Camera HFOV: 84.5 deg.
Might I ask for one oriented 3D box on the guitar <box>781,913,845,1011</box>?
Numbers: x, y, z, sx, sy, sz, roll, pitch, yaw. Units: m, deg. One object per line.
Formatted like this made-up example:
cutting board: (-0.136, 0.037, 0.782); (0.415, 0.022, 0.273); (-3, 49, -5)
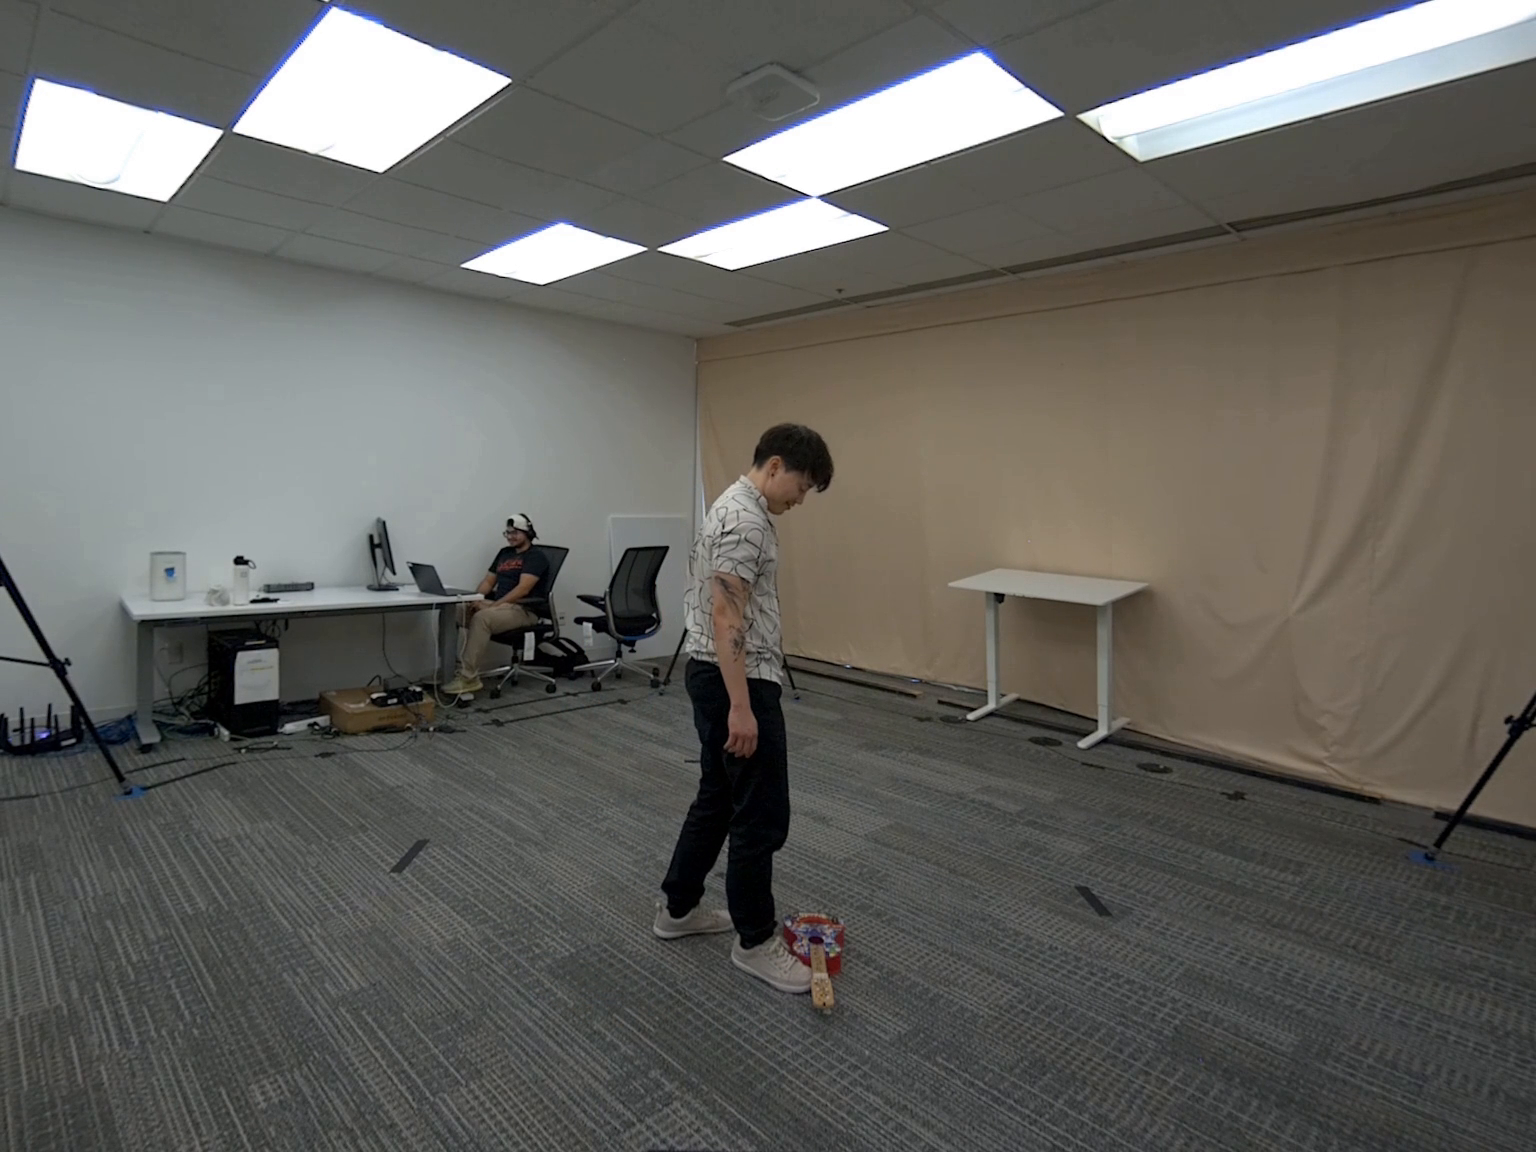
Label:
guitar: (0.111, 1.139, 2.469); (0.194, 0.070, 0.495); (3, 6, 8)
